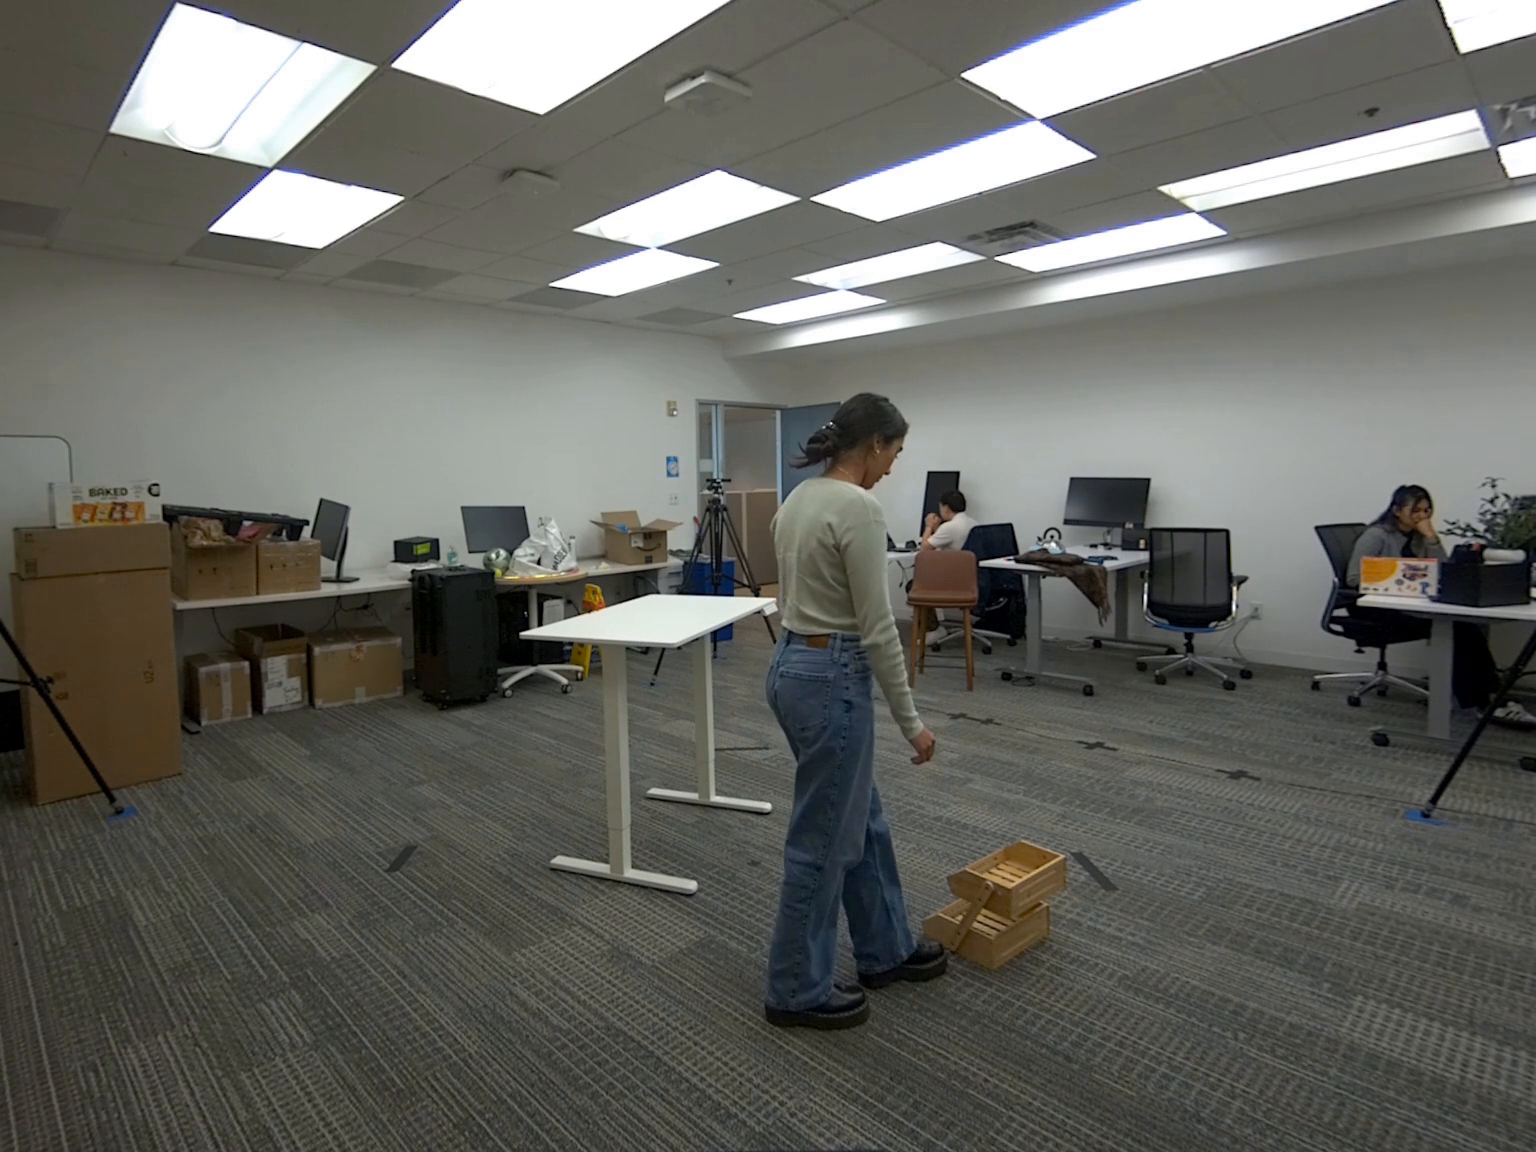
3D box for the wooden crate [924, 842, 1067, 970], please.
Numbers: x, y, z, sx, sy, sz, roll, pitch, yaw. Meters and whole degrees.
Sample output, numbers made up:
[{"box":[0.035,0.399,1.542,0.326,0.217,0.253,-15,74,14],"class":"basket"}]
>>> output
[{"box":[0.683,0.960,2.565,0.316,0.272,0.311,-6,8,-41],"class":"wooden crate"}]
